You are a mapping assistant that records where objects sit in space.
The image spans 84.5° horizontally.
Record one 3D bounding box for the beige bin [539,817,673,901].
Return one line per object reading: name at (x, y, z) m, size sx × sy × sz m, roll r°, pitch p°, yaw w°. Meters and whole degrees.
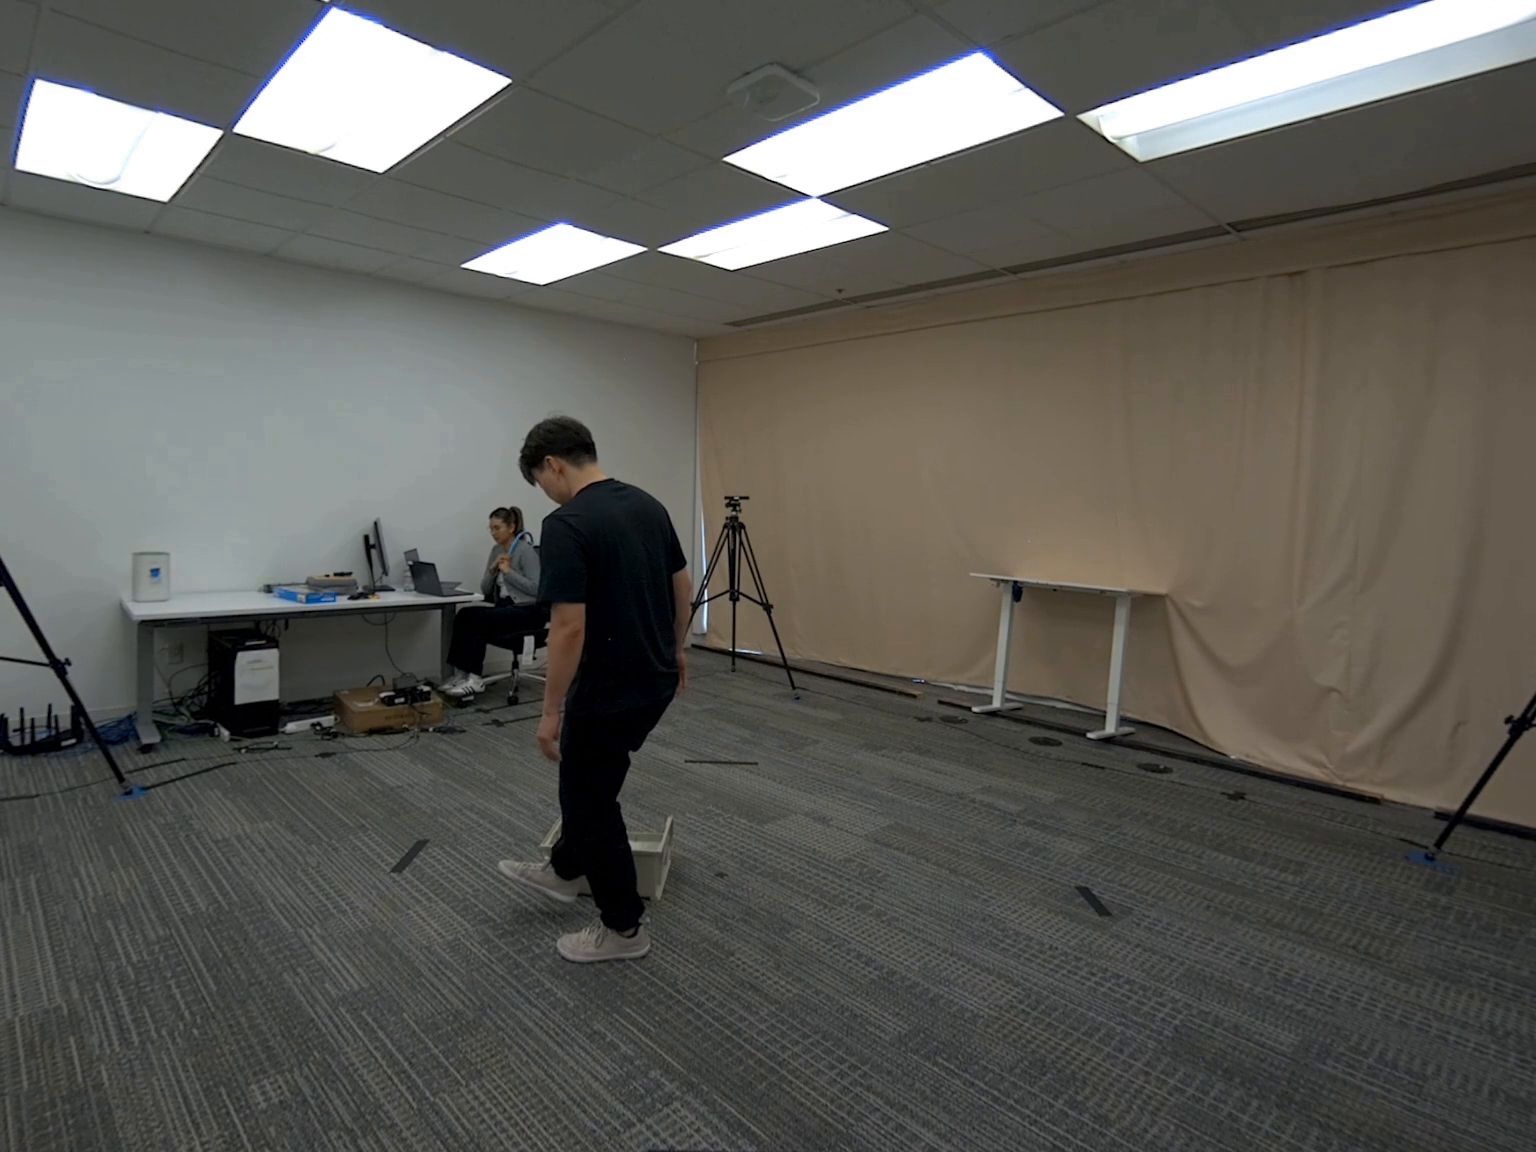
beige bin at (-0.581, 1.012, 3.073) m, size 0.423 × 0.188 × 0.378 m, roll 3°, pitch 5°, yaw 1°
